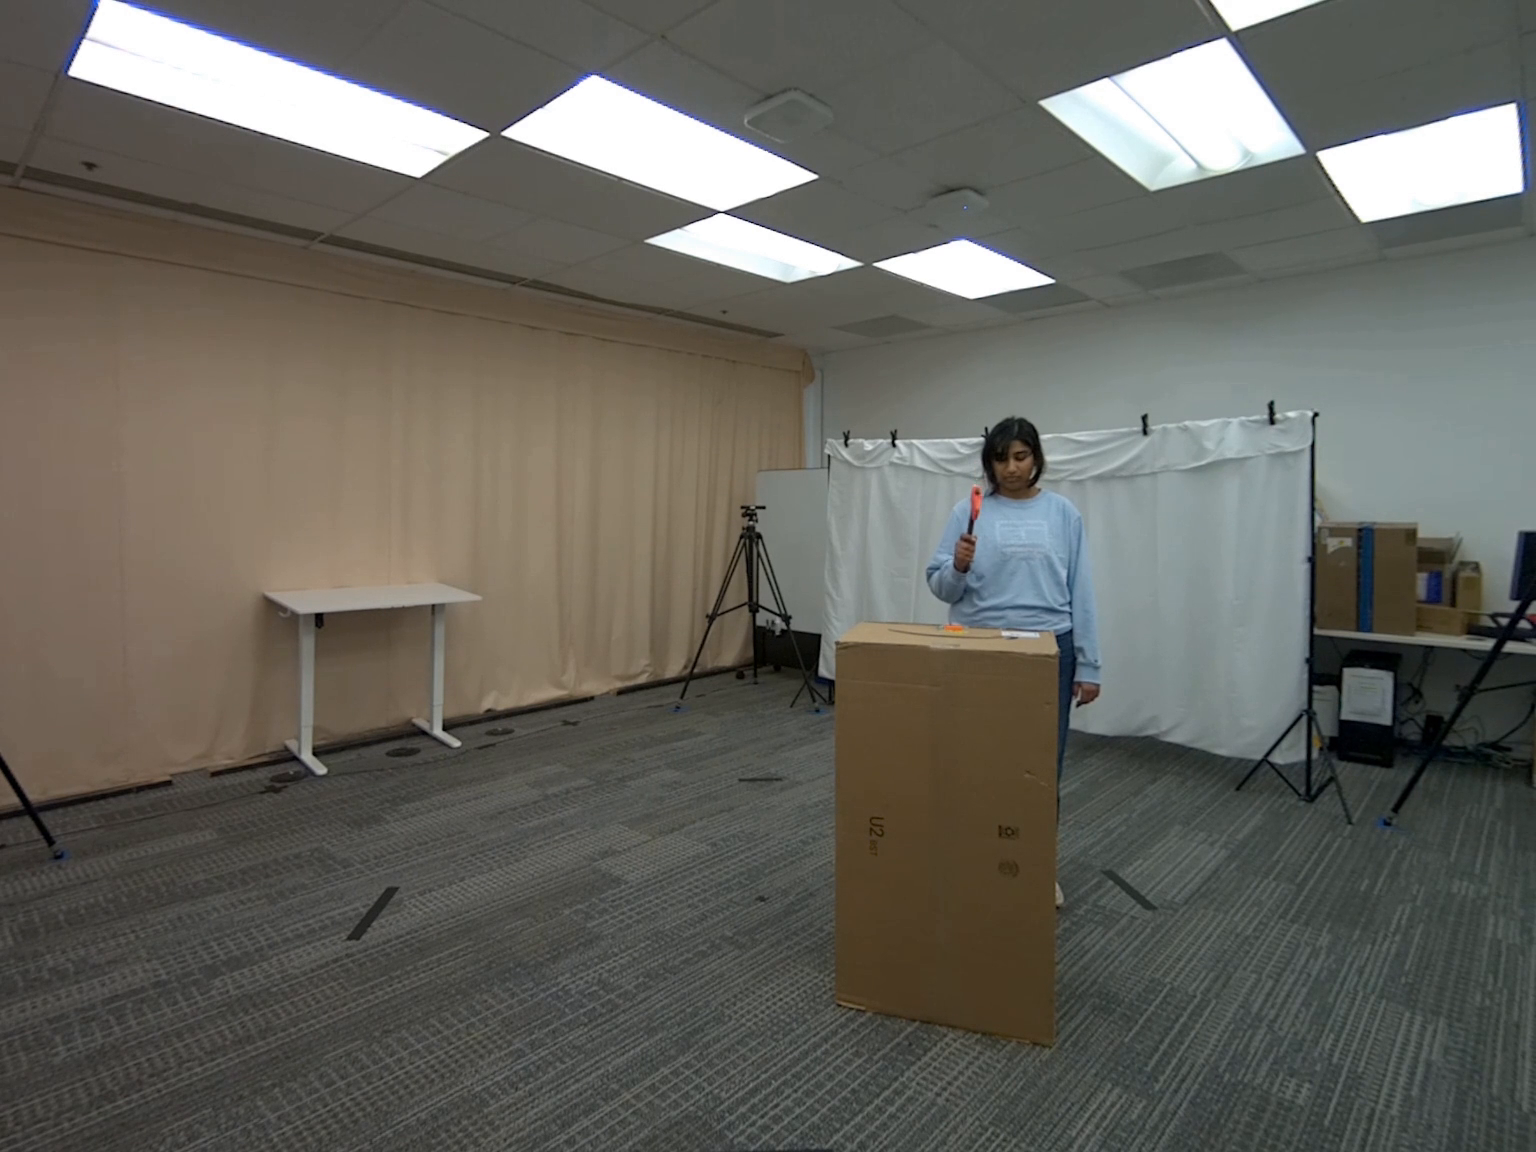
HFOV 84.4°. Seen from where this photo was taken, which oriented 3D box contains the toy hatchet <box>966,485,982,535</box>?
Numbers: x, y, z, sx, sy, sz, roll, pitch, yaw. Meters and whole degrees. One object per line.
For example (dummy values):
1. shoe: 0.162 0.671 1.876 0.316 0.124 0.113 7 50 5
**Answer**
1. toy hatchet: 0.674 -0.154 2.726 0.030 0.266 0.132 4 26 4
